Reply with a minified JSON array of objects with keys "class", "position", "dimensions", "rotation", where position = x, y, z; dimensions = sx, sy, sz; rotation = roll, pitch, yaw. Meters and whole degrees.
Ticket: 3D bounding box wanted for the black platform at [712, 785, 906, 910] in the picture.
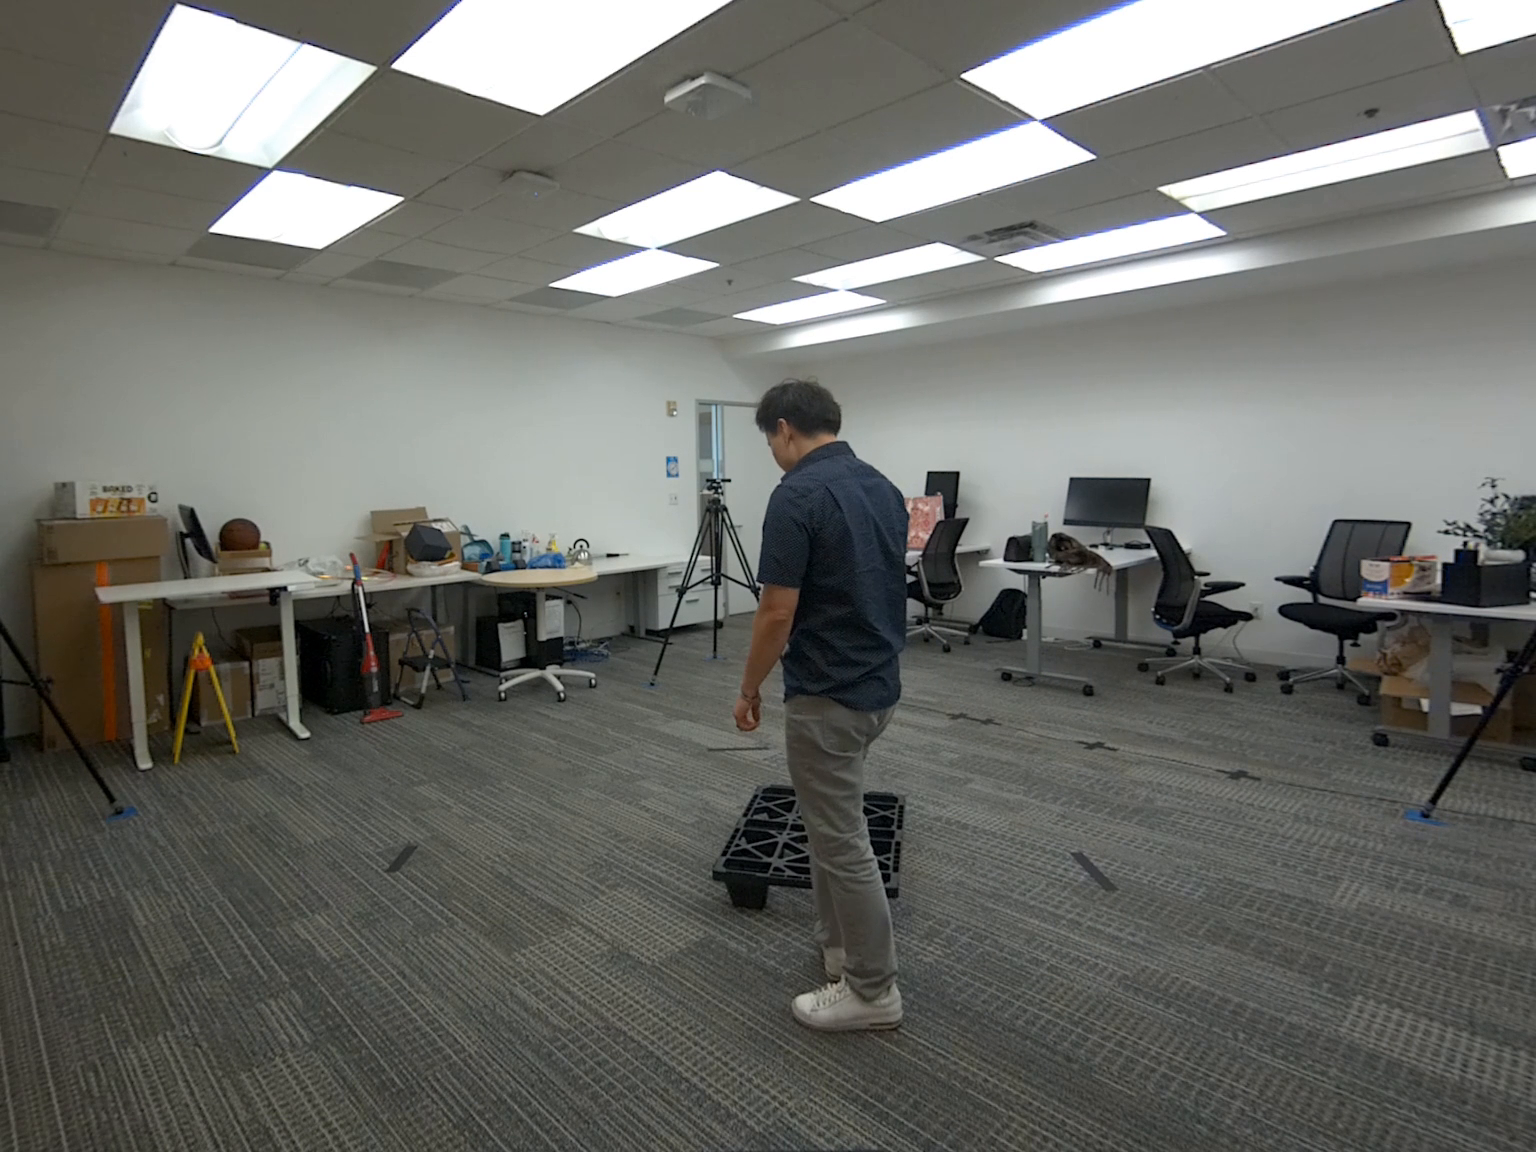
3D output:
[{"class":"black platform","position":[0.179,0.976,3.084],"dimensions":[0.613,0.143,0.799],"rotation":[0,6,12]}]
